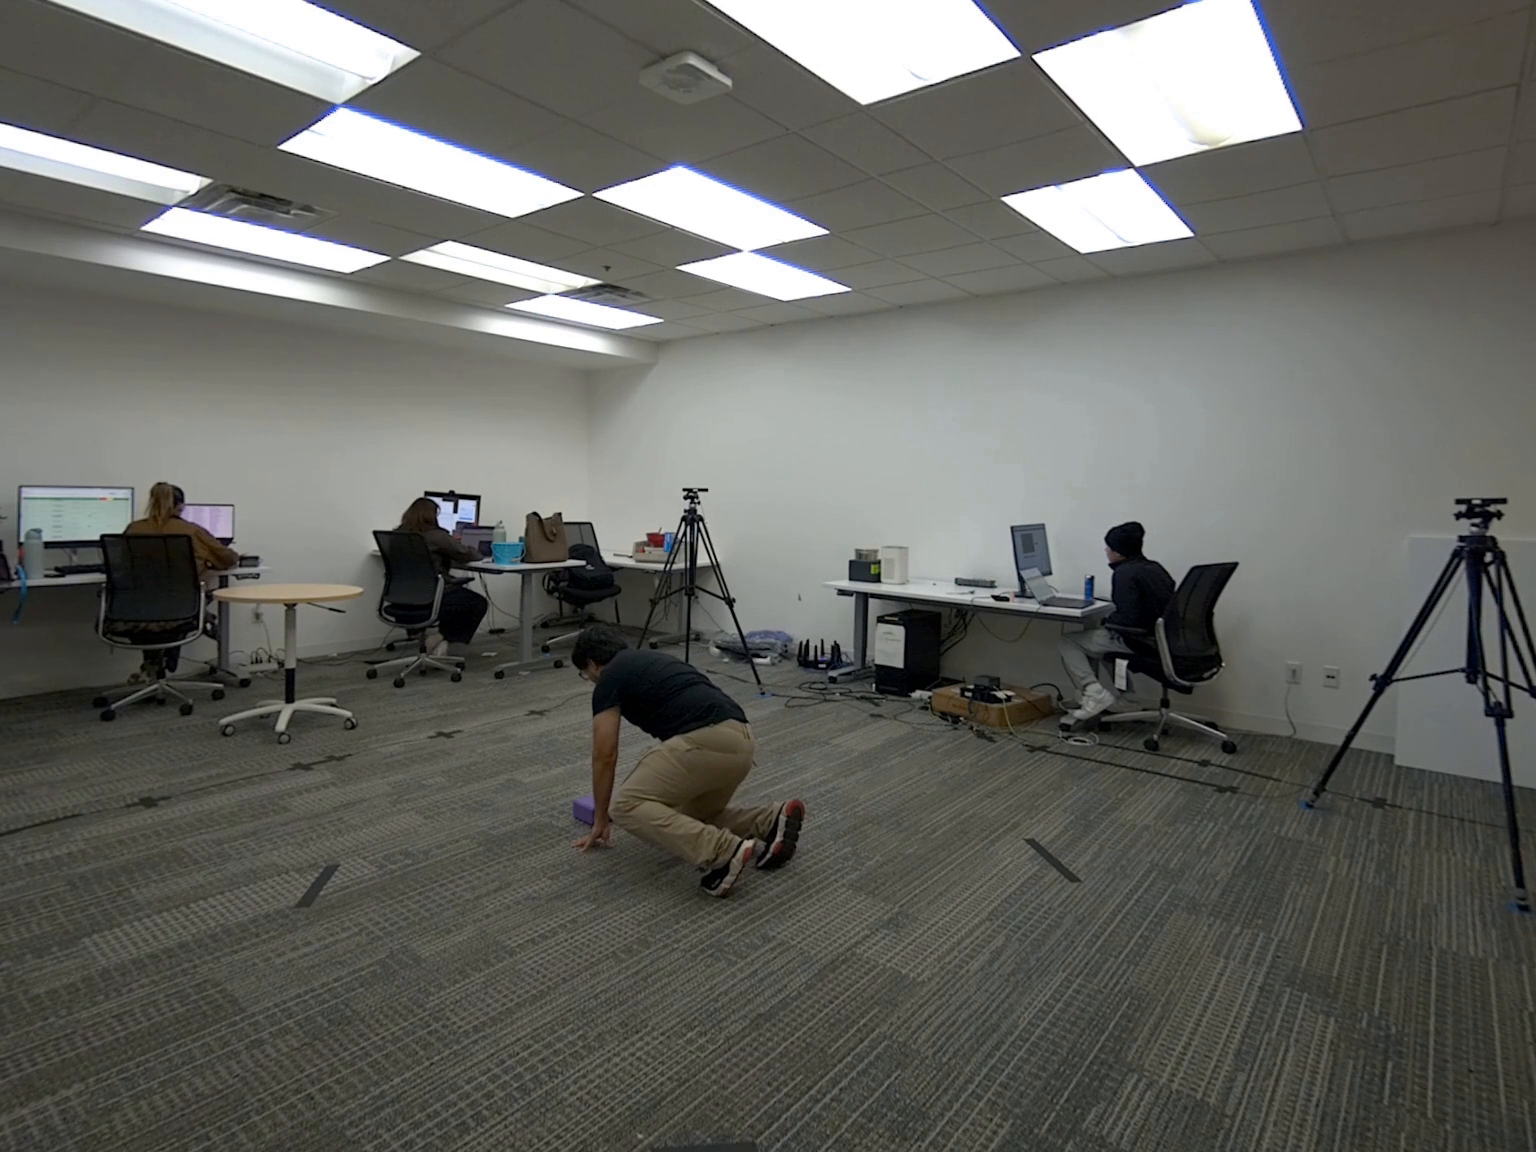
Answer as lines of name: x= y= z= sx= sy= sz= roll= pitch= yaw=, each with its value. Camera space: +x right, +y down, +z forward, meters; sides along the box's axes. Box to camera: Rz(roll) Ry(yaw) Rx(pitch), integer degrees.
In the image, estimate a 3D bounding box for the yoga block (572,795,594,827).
yoga block: x=-0.701 y=0.970 z=3.605 sx=0.154 sy=0.076 sz=0.222 roll=3 pitch=6 yaw=42
